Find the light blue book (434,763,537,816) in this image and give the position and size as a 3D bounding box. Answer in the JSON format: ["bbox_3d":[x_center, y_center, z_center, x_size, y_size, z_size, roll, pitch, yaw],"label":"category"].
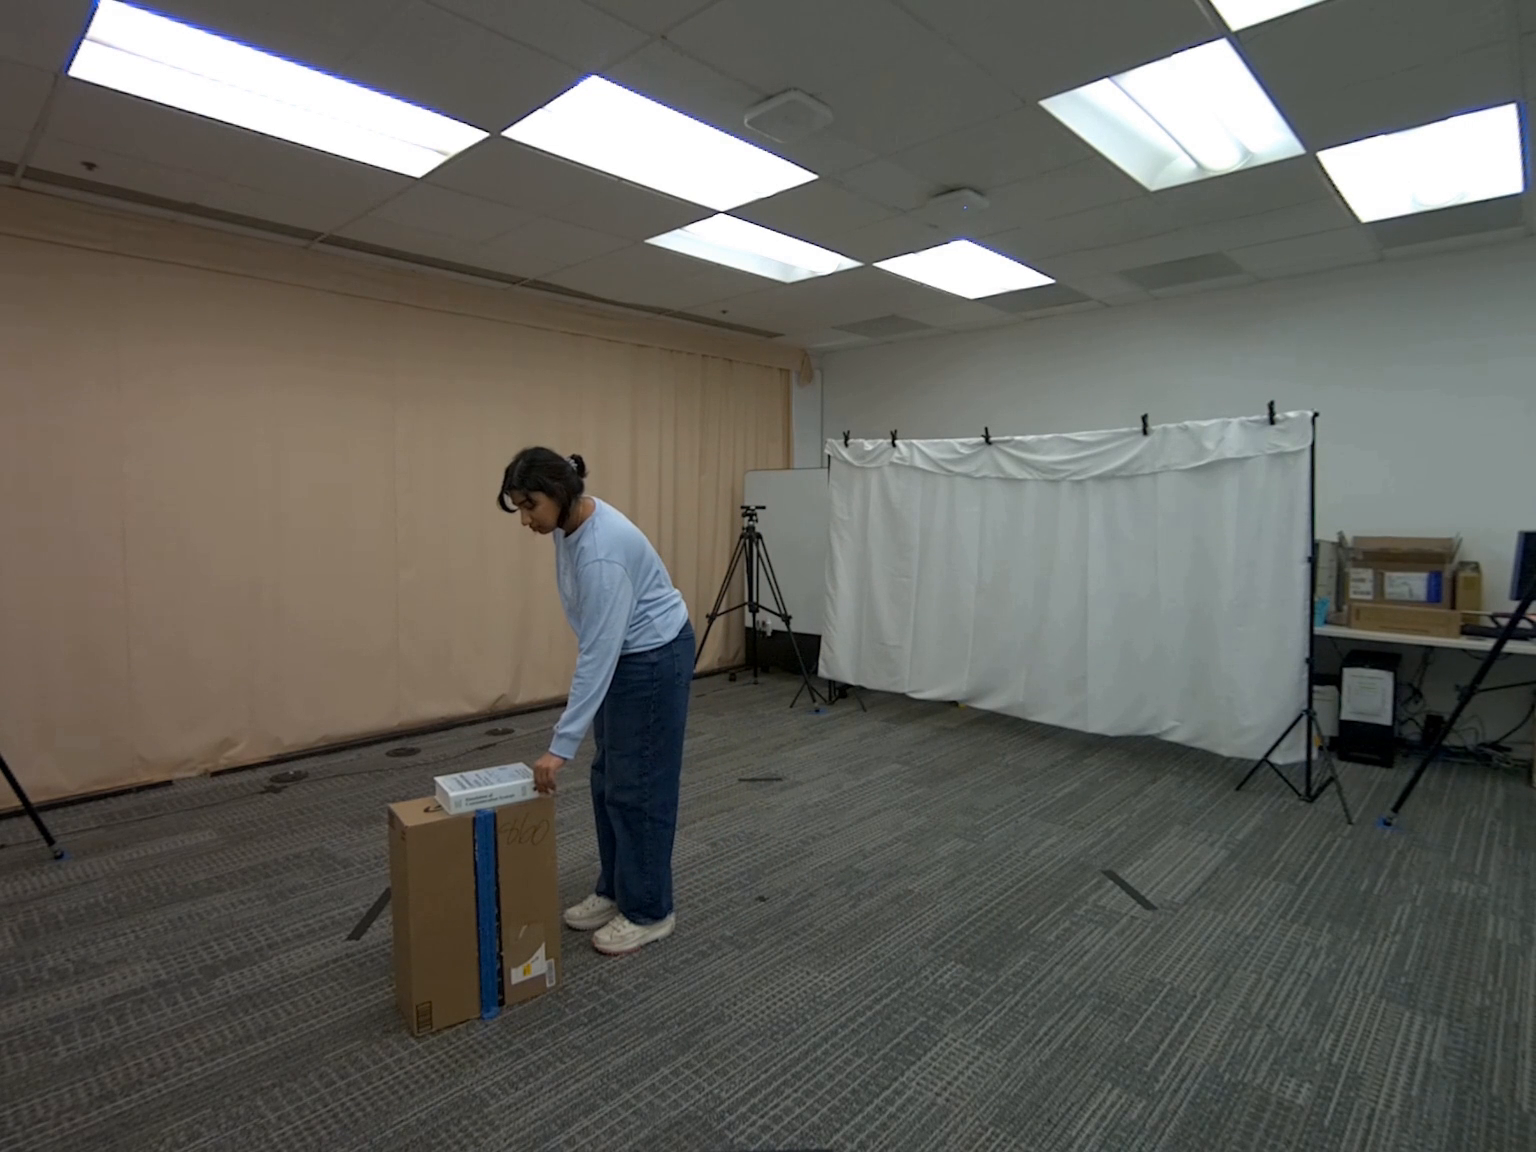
[{"bbox_3d":[-0.796,0.603,2.417,0.254,0.059,0.197,-3,4,-32],"label":"light blue book"}]
